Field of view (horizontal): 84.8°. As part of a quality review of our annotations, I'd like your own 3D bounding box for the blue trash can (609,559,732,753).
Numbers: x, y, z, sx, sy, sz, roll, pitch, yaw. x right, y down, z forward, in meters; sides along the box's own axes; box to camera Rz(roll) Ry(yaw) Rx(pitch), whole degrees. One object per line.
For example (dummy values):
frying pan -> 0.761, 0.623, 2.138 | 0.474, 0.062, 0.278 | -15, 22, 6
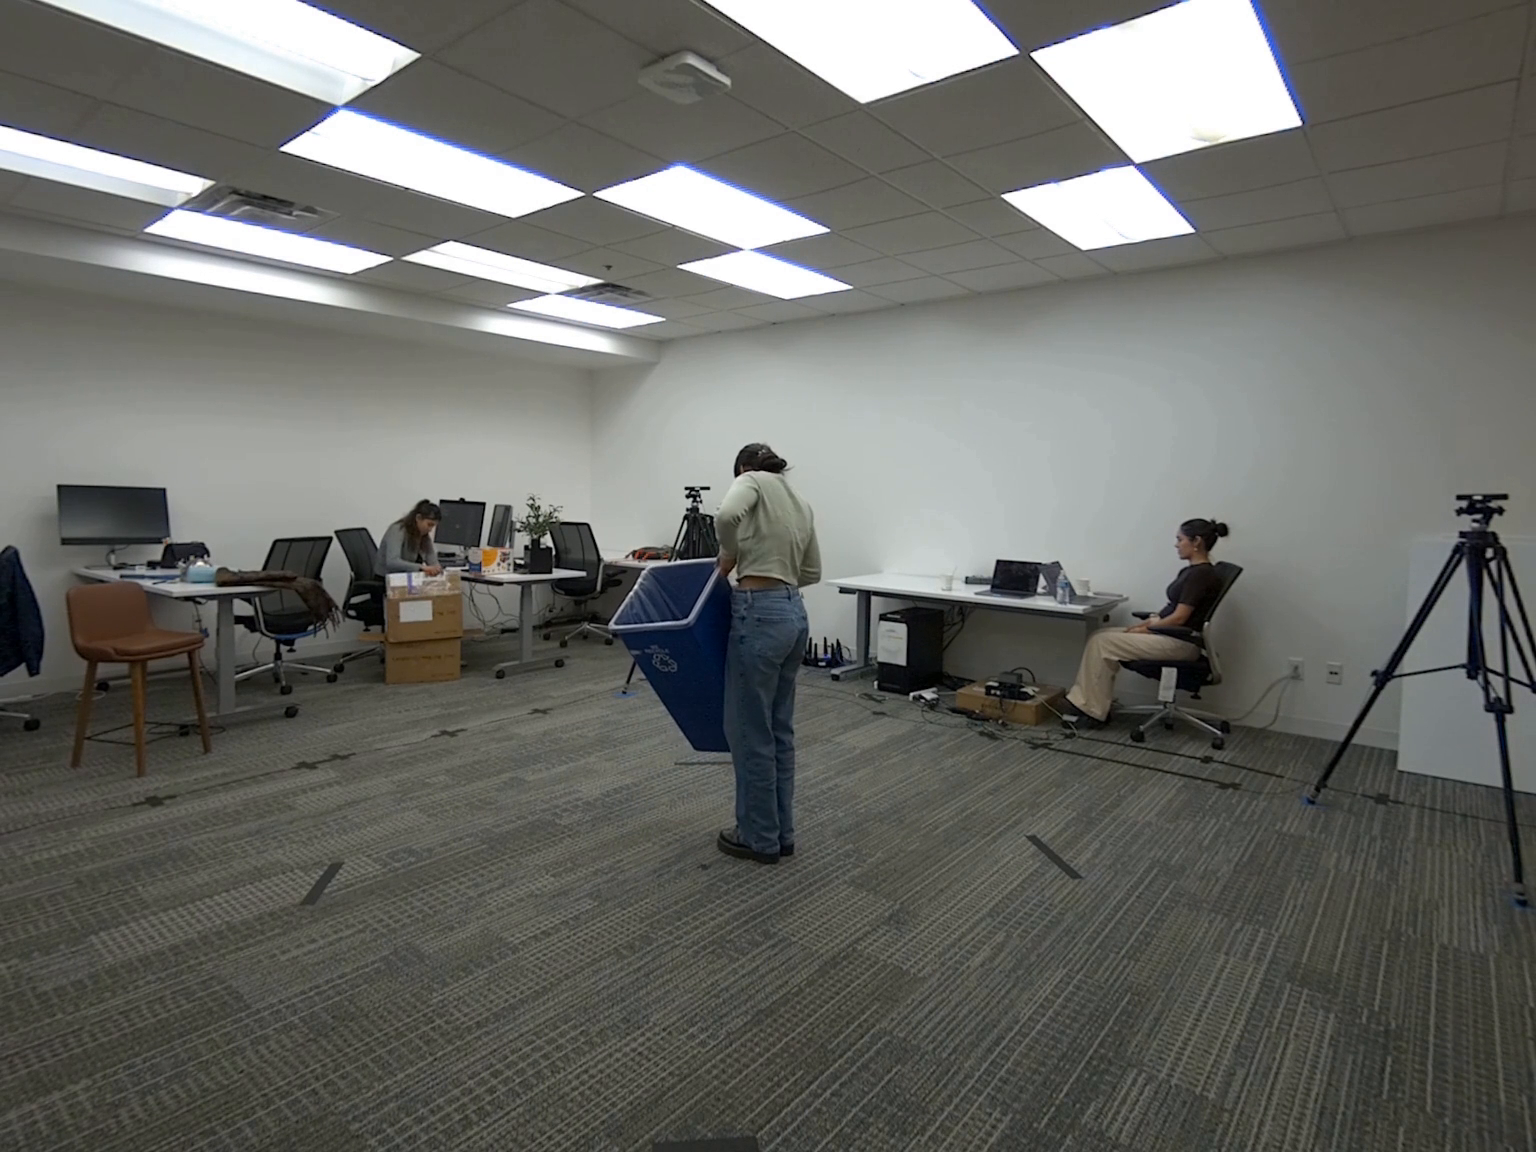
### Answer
blue trash can -> -0.263, 0.325, 3.321 | 0.383, 0.690, 0.382 | -6, 34, 29
